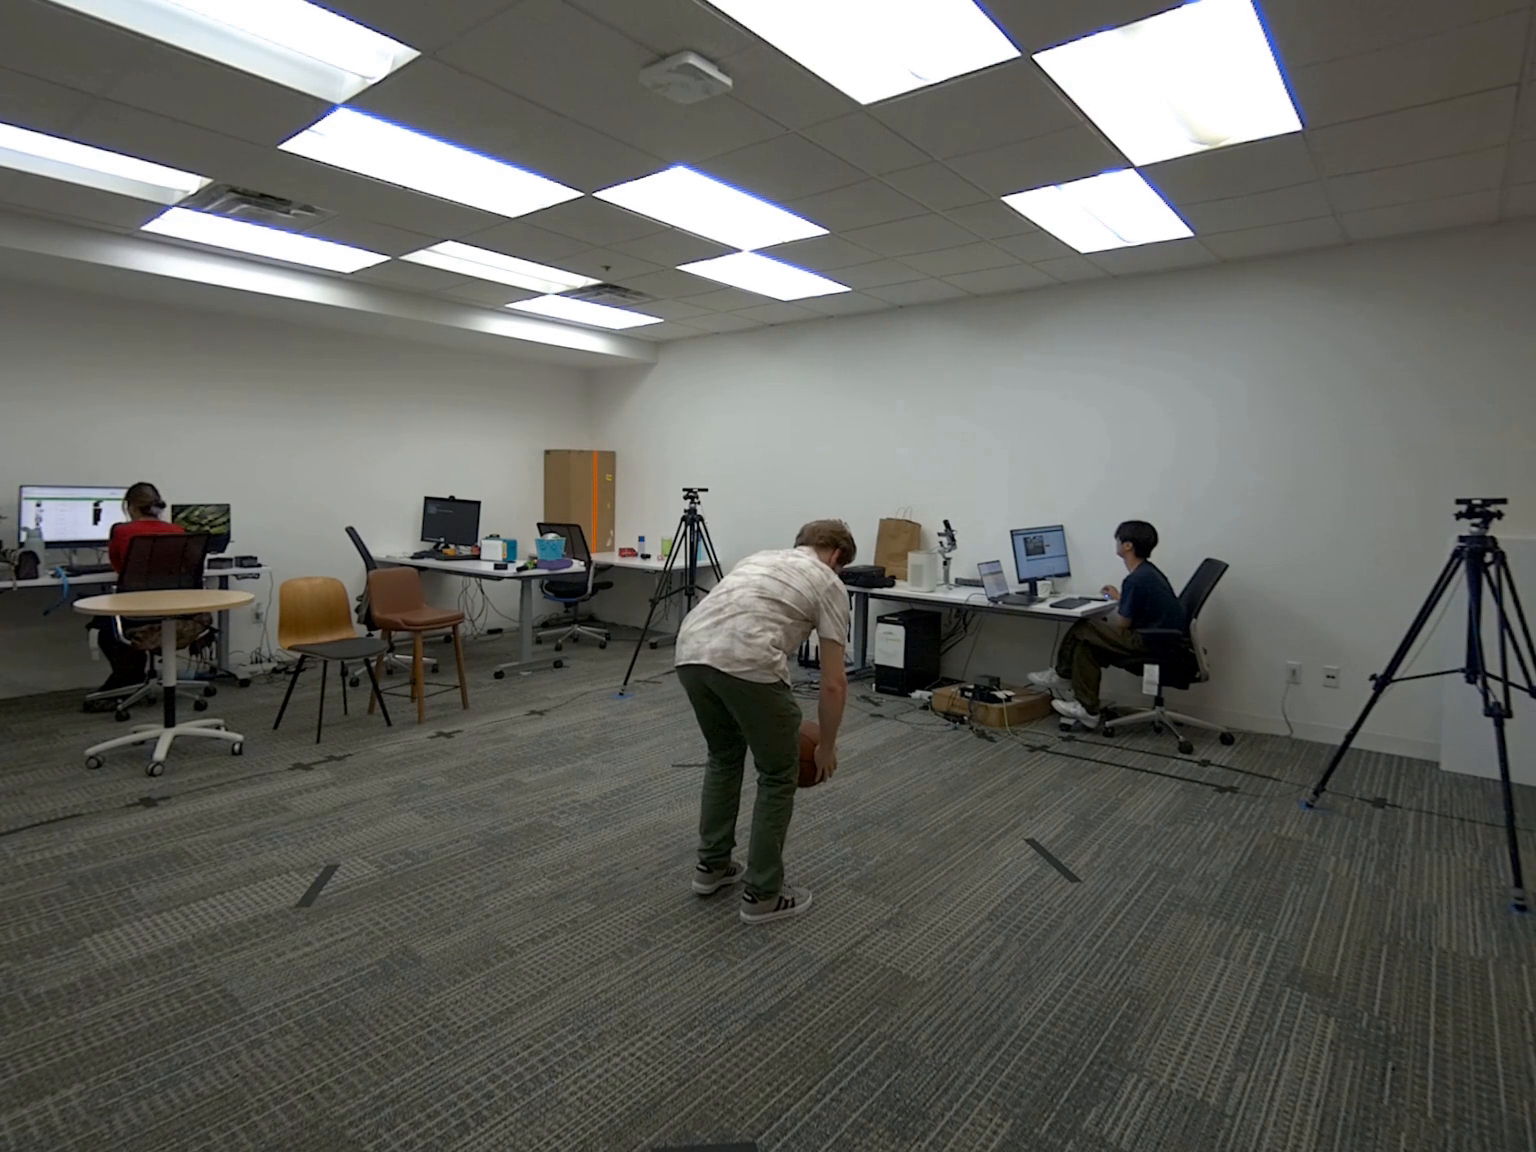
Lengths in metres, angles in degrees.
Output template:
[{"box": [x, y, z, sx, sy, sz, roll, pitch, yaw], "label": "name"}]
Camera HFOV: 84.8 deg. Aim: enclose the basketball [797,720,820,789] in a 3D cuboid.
[{"box": [0.120, 0.640, 3.085, 0.235, 0.235, 0.237, 1, 4, -2], "label": "basketball"}]
